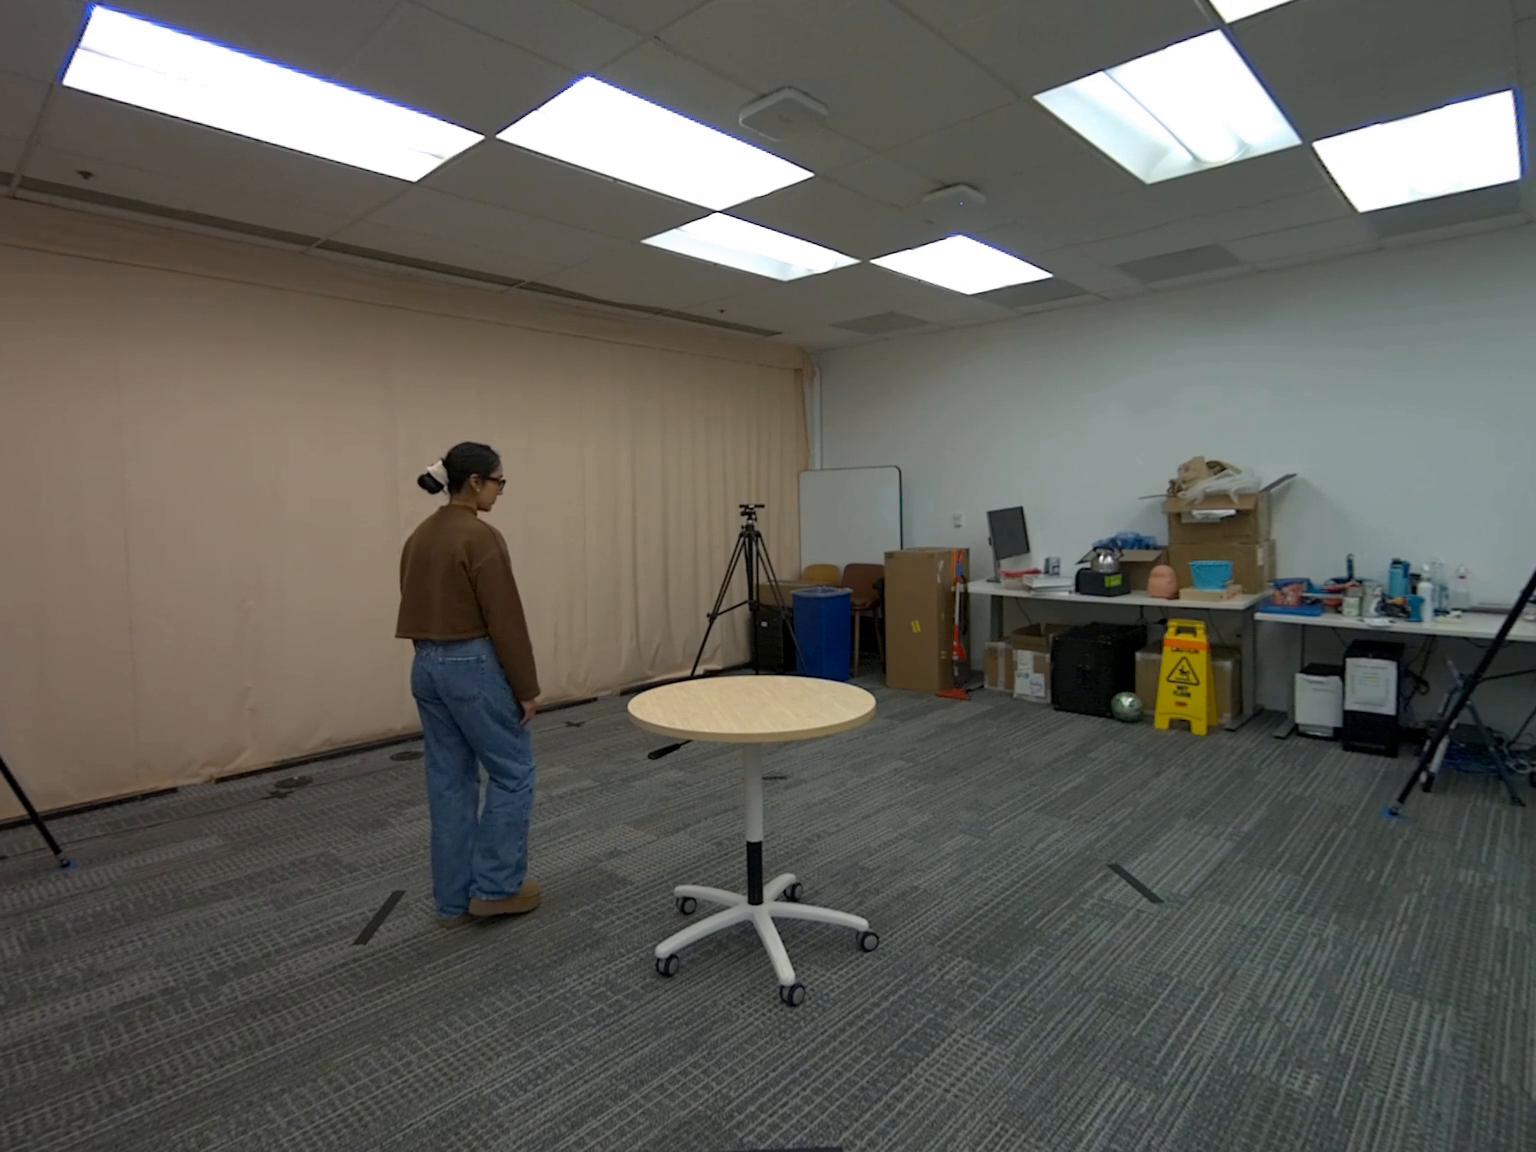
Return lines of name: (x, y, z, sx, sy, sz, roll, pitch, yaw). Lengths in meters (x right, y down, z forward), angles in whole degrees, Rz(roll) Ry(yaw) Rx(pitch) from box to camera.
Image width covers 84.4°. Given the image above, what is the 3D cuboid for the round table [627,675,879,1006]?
round table: (-0.042, 0.782, 2.642, 0.763, 0.792, 0.767, -1, 4, -2)
